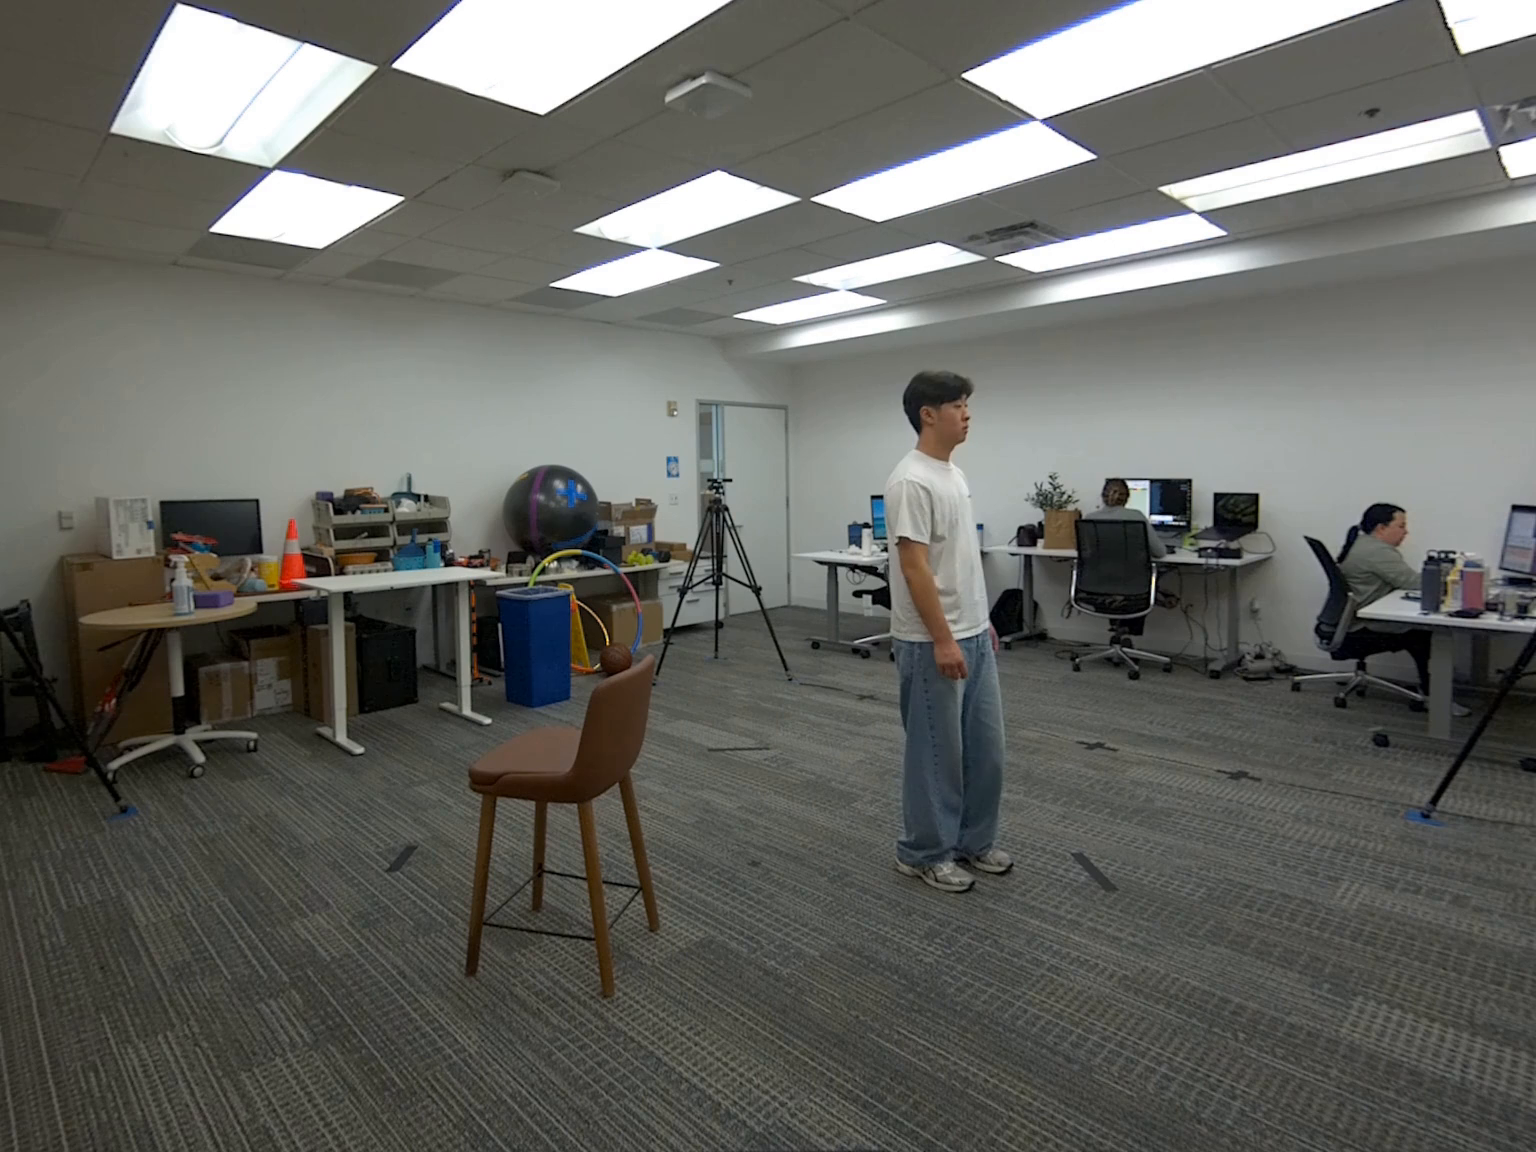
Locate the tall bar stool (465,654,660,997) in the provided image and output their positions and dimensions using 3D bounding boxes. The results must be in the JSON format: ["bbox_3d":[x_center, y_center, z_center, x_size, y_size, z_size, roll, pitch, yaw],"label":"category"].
[{"bbox_3d":[-0.596,0.689,2.525,0.475,0.885,0.451,2,6,16],"label":"tall bar stool"}]
